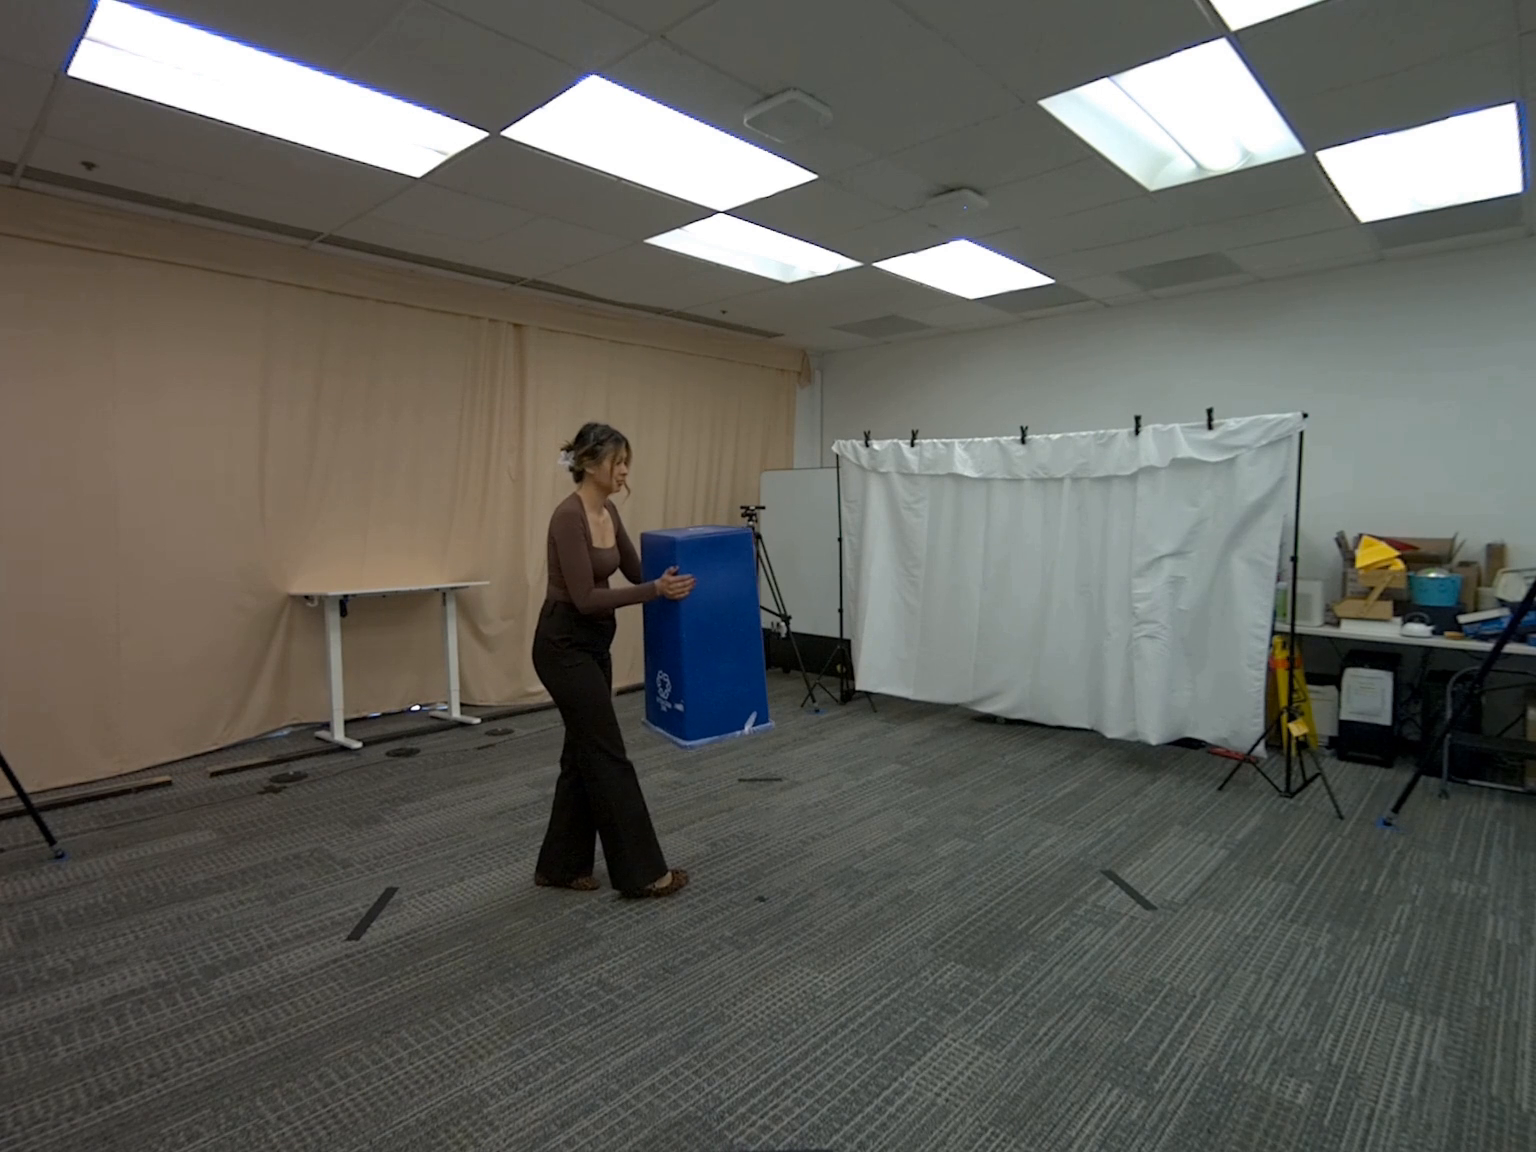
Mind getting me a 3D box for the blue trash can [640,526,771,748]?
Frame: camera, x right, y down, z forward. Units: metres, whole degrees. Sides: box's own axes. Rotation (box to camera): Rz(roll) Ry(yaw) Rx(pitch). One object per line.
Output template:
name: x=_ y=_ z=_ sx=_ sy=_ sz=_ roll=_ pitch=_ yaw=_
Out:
blue trash can: x=-0.233 y=0.196 z=3.005 sx=0.368 sy=0.711 sz=0.385 roll=-6 pitch=6 yaw=-30
